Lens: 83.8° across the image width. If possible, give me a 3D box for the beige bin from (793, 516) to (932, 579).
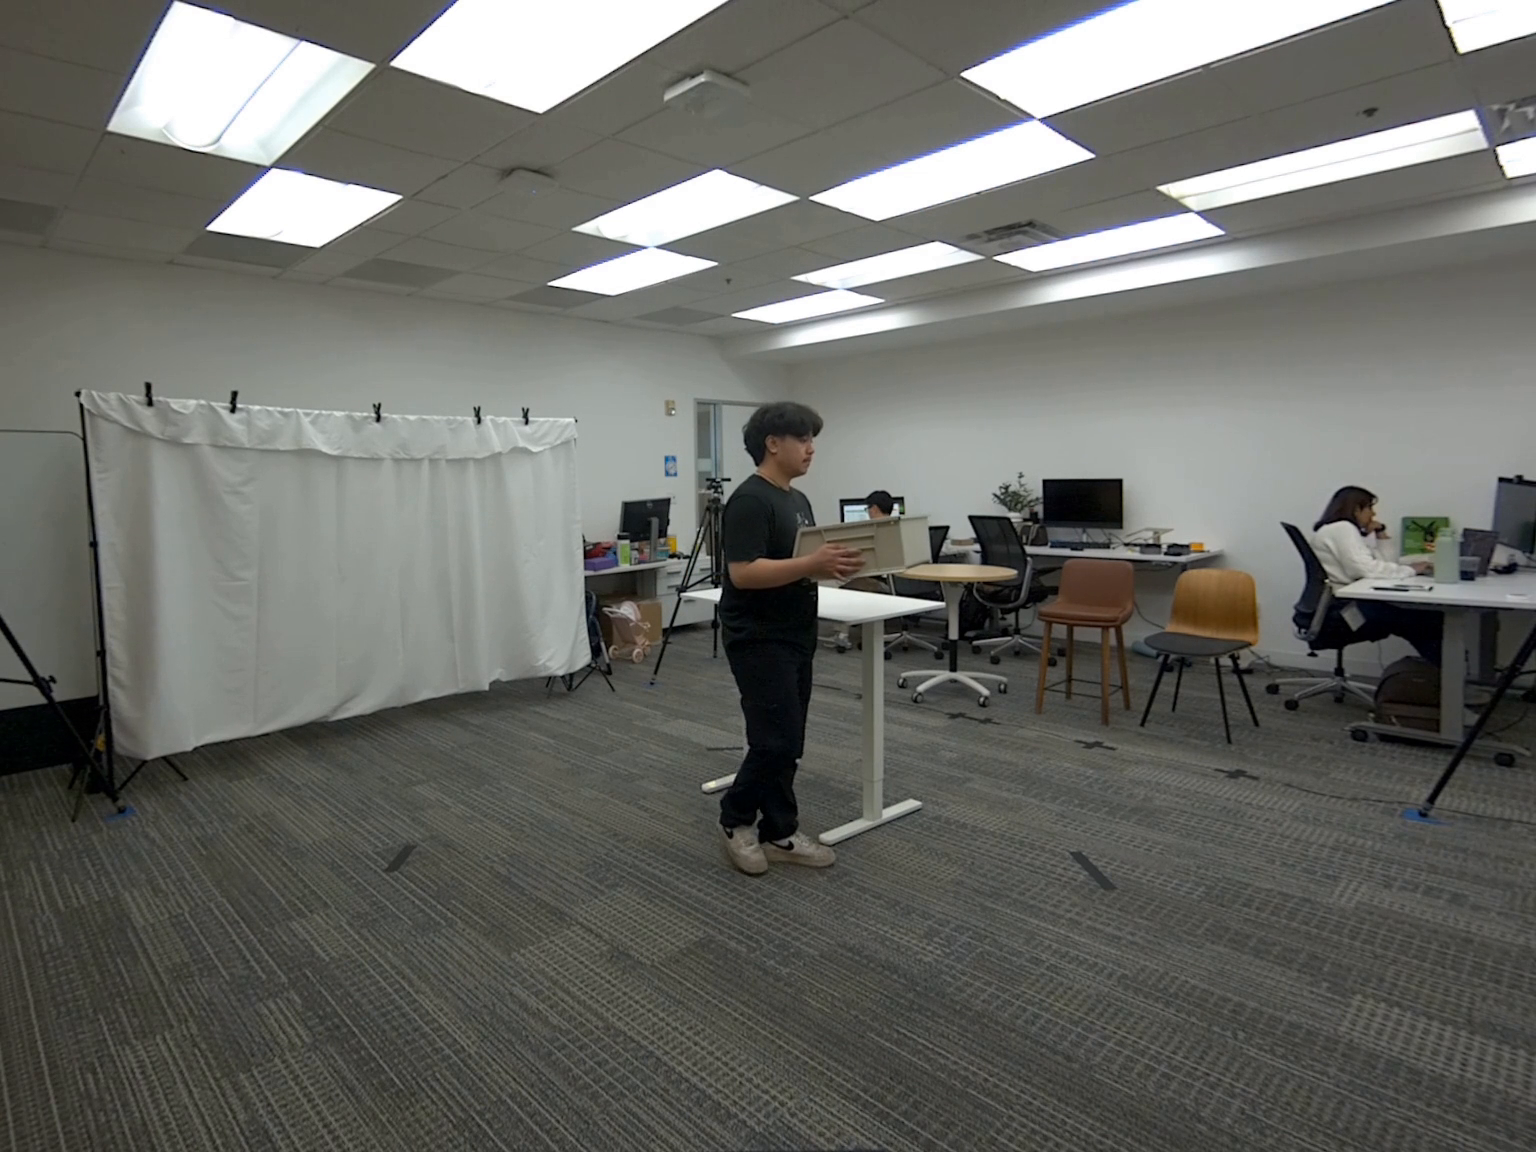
[{"bbox_3d":[0.323,-0.094,2.920,0.385,0.189,0.414,-5,2,23],"label":"beige bin"}]
